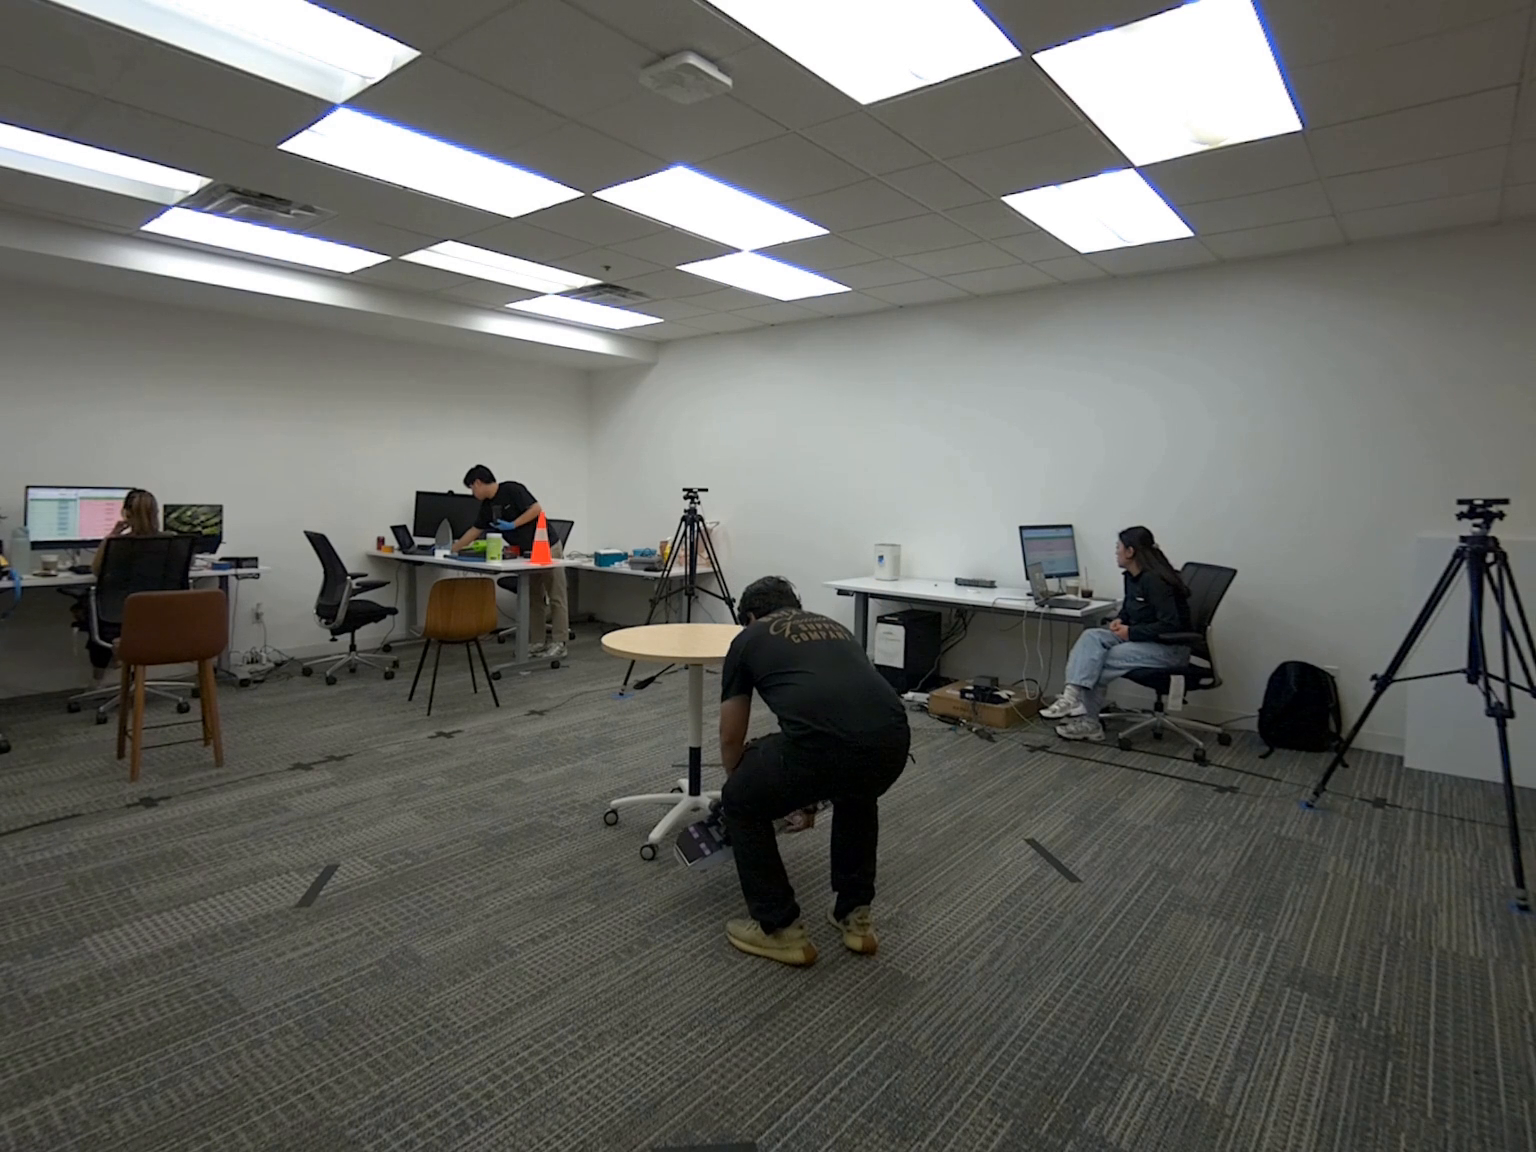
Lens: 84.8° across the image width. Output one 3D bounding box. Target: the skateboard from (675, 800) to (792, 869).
[{"bbox_3d":[0.026,0.795,2.951,0.769,0.108,0.202,-17,32,-34],"label":"skateboard"}]
